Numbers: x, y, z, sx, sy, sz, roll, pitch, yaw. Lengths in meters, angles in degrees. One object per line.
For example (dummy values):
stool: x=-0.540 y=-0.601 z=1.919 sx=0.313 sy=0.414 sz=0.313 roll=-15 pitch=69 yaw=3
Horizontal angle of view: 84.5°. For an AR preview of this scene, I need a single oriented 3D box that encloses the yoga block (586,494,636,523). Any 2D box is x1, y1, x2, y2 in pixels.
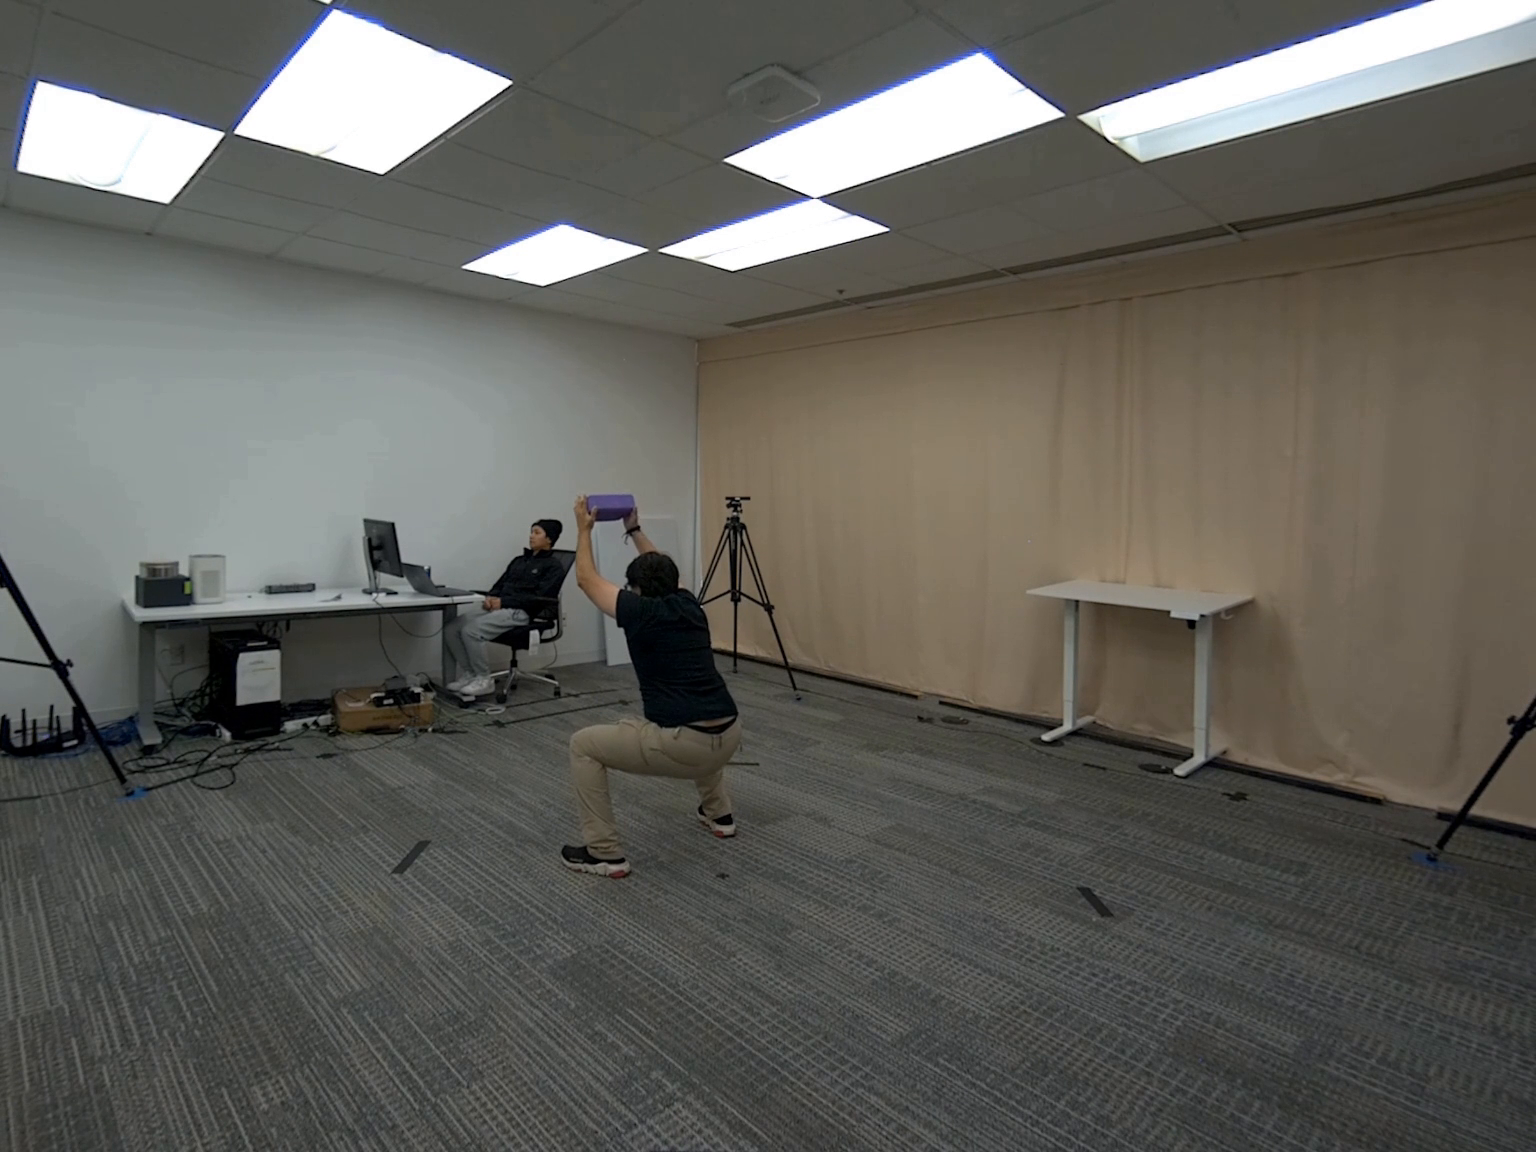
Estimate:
yoga block: x=-0.711 y=-0.299 z=3.636 sx=0.224 sy=0.077 sz=0.150 roll=-6 pitch=-16 yaw=-44
